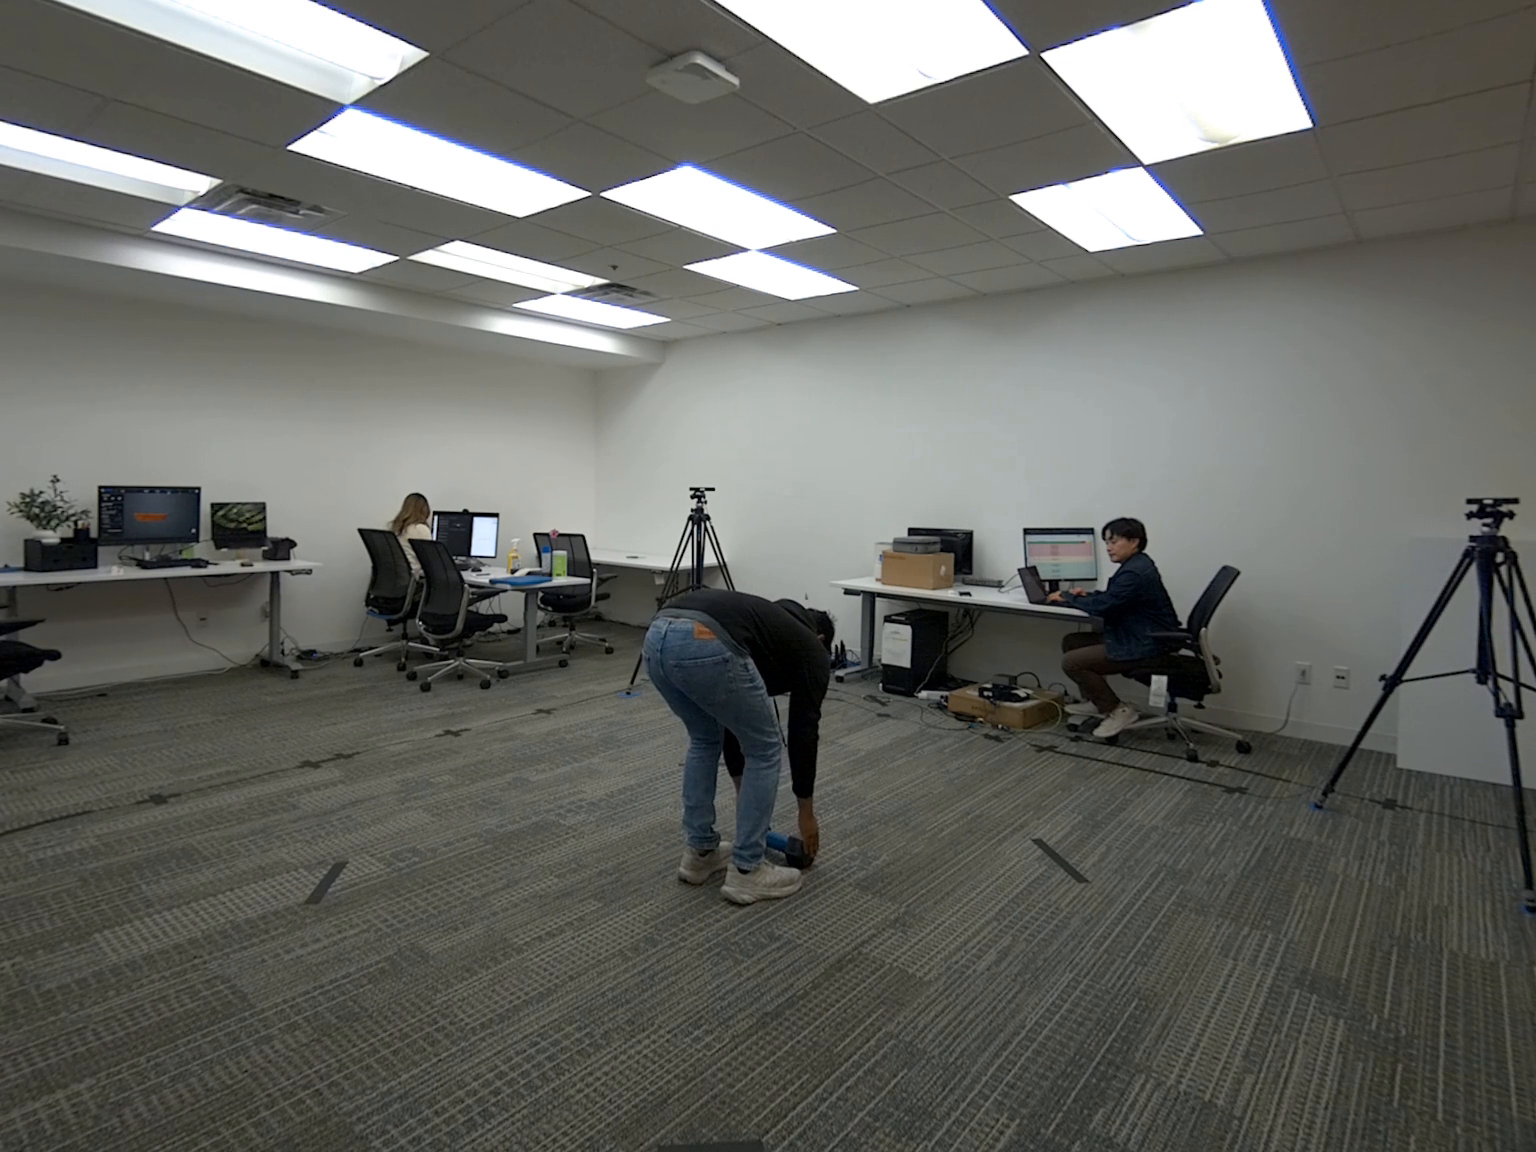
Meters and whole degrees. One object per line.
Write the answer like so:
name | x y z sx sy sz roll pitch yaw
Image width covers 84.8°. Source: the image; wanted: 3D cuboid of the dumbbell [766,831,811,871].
dumbbell | 0.022 1.002 3.212 0.303 0.124 0.104 5 -26 41
